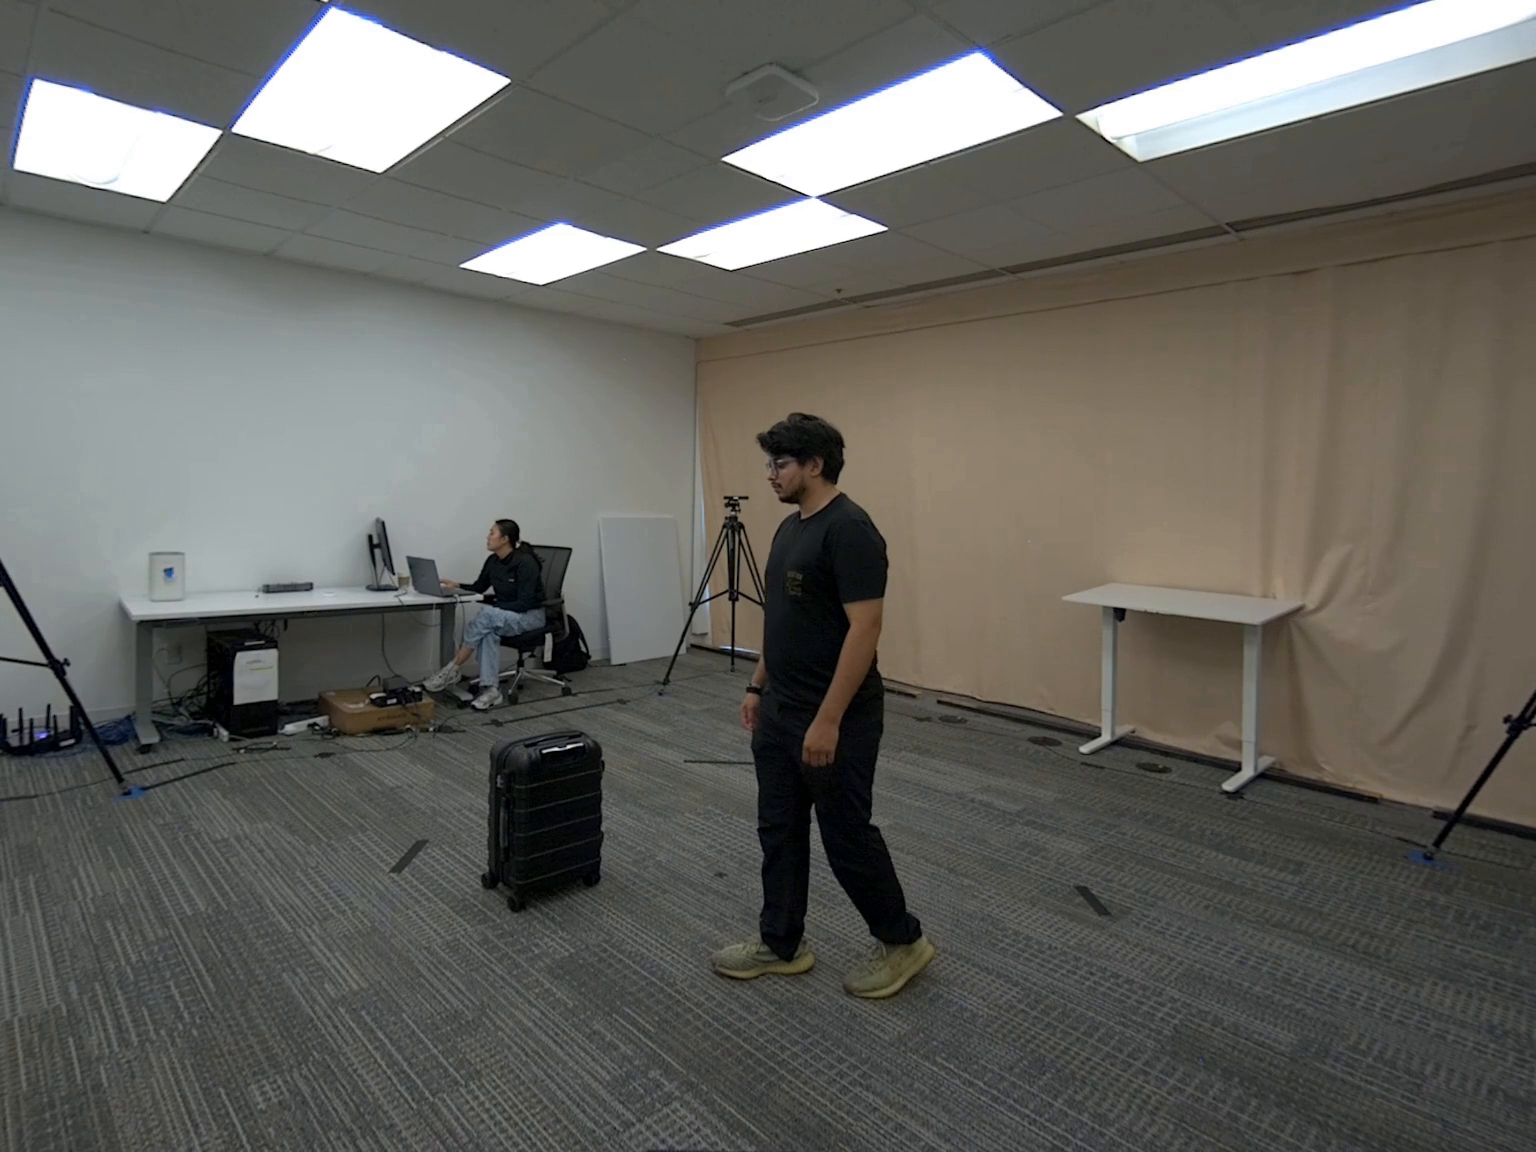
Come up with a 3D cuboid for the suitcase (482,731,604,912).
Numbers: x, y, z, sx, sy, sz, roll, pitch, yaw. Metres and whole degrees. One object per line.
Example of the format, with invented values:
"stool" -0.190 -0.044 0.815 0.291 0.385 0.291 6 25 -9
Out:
"suitcase" -0.792 0.826 2.956 0.367 0.547 0.255 -3 7 -43
